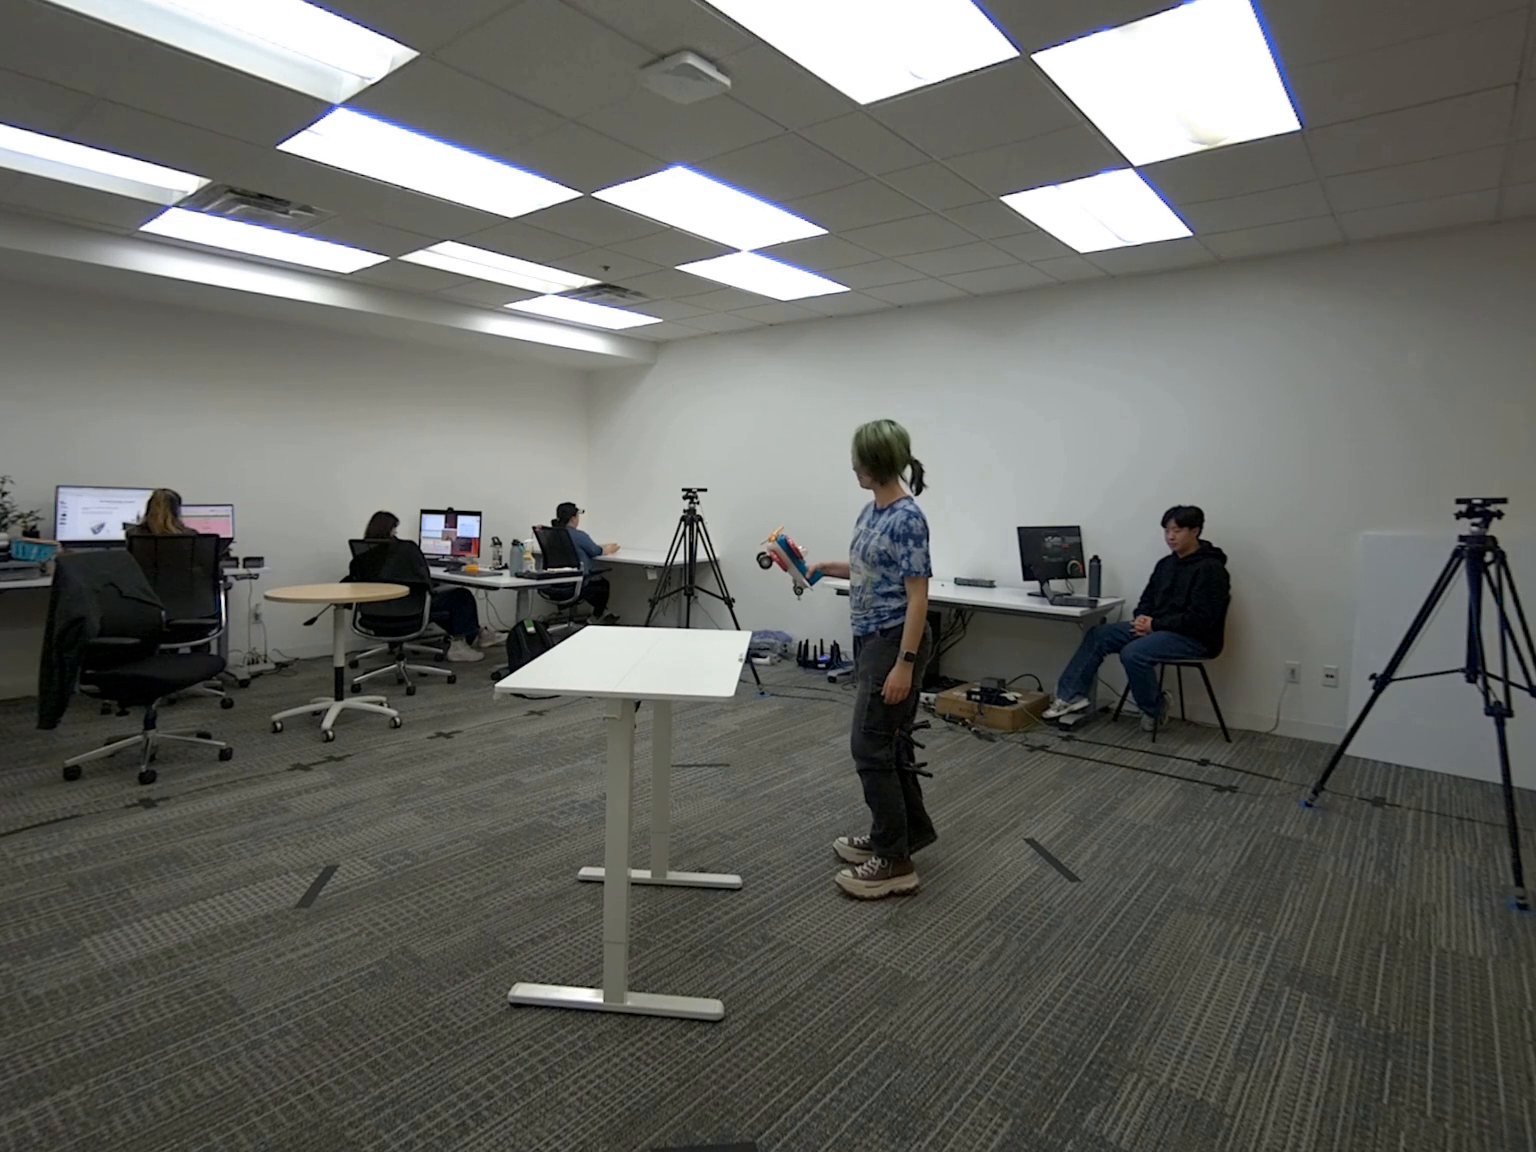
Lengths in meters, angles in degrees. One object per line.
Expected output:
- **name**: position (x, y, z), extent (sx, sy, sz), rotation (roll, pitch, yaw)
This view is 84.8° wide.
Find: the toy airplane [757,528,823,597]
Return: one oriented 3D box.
- **toy airplane**: position (0.069, -0.059, 3.297), extent (0.249, 0.156, 0.261), rotation (35, 4, -37)
